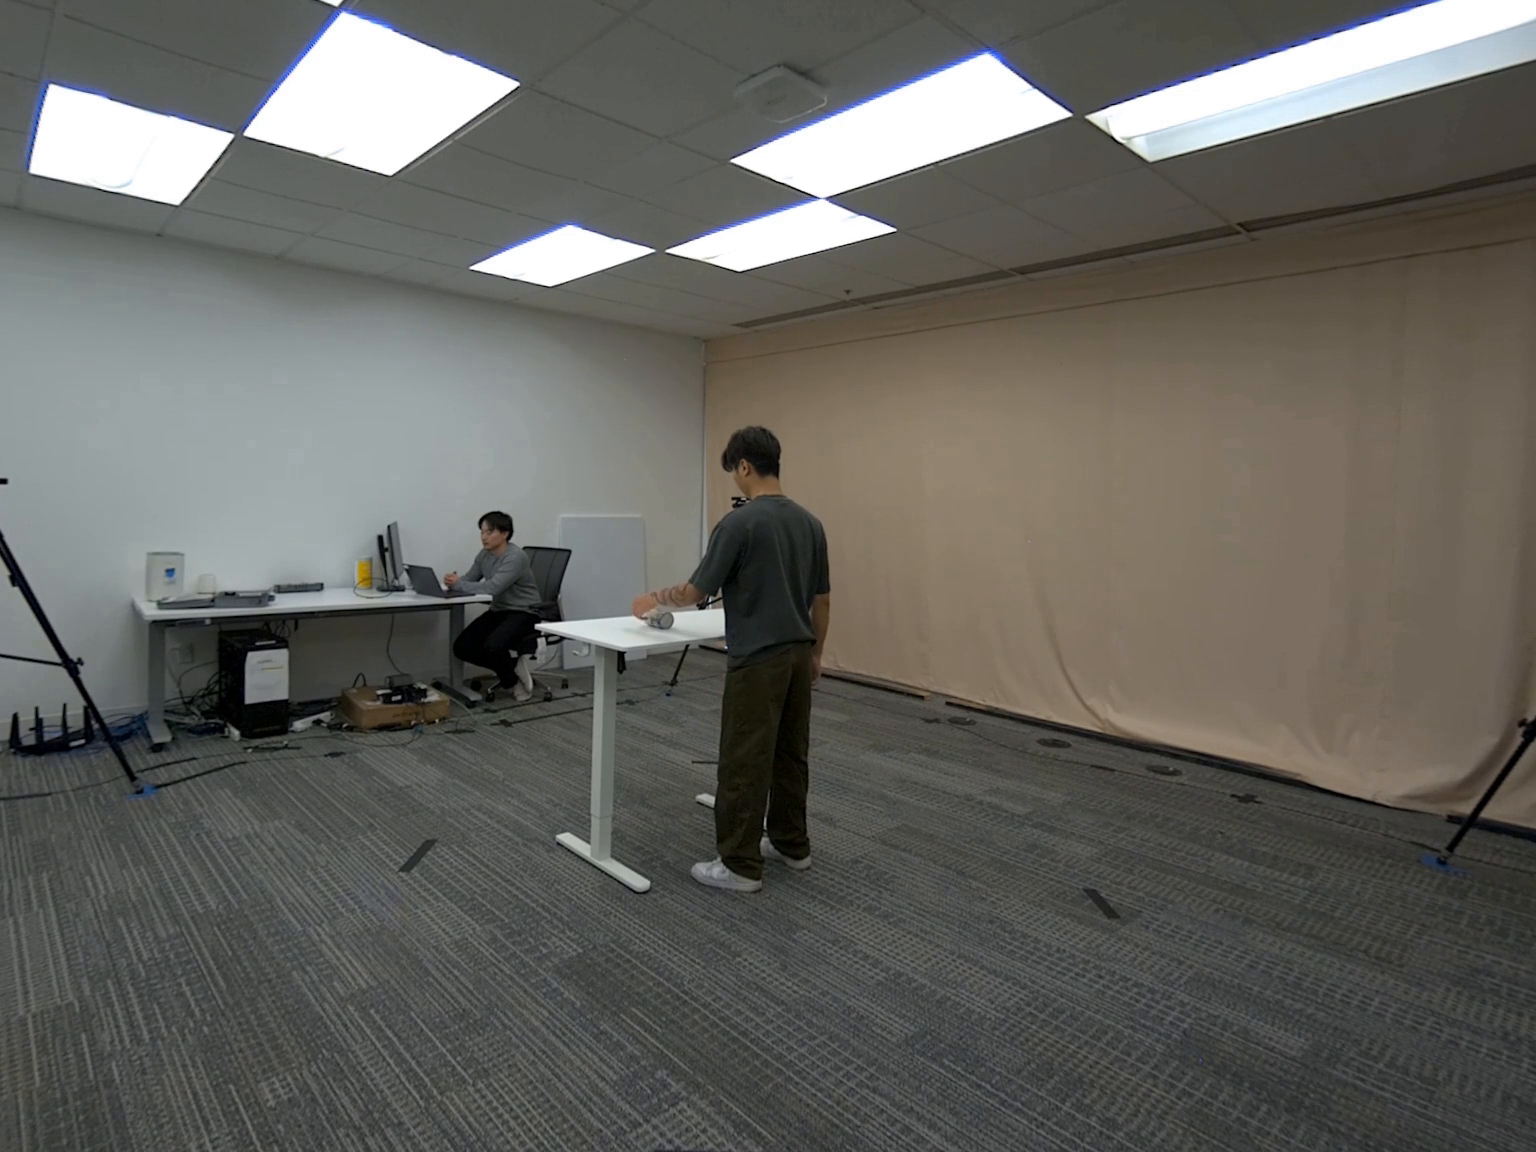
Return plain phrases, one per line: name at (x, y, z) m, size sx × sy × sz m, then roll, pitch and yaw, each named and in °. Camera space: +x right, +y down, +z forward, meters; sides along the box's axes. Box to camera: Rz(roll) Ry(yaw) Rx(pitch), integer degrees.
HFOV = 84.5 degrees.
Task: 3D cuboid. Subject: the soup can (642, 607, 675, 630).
soup can at (-0.424, 0.167, 3.283) m, size 0.124 × 0.067 × 0.066 m, roll 2°, pitch 4°, yaw 26°
